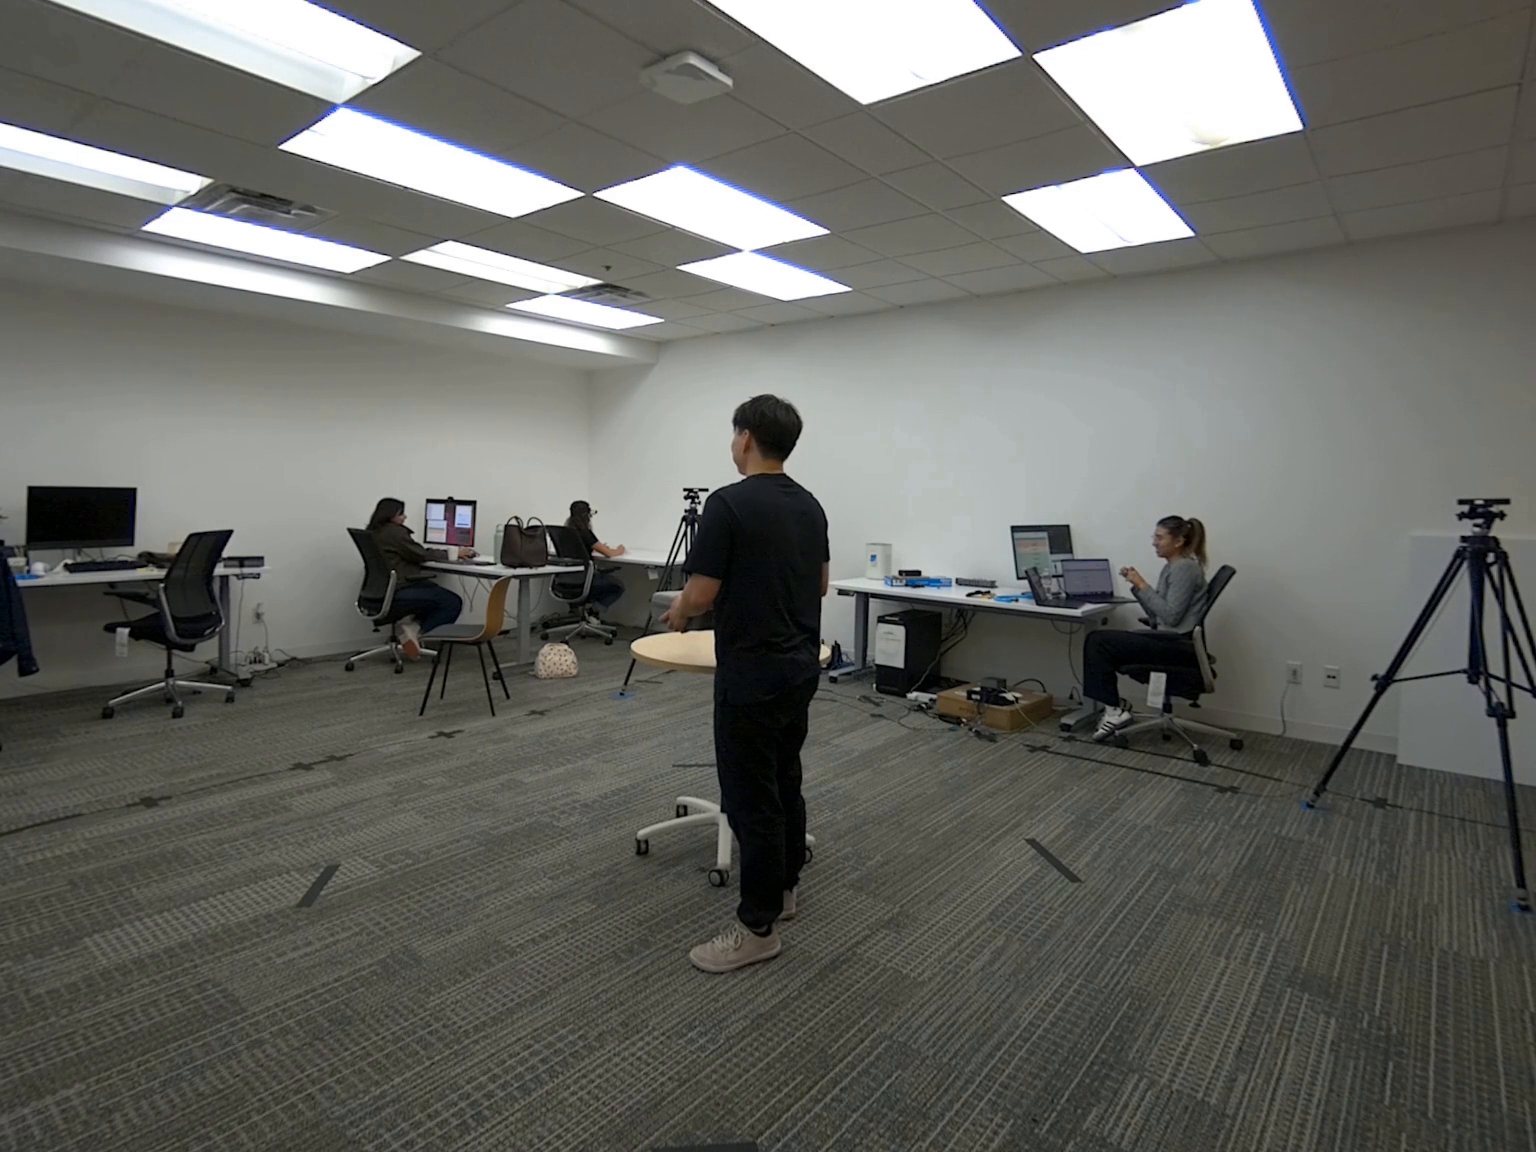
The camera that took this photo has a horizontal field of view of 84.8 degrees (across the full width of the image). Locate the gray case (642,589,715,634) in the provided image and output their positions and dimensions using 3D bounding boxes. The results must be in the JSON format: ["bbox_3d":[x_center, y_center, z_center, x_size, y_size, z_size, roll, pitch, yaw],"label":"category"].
[{"bbox_3d":[-0.245,0.114,2.858,0.249,0.104,0.270,0,6,-43],"label":"gray case"}]
